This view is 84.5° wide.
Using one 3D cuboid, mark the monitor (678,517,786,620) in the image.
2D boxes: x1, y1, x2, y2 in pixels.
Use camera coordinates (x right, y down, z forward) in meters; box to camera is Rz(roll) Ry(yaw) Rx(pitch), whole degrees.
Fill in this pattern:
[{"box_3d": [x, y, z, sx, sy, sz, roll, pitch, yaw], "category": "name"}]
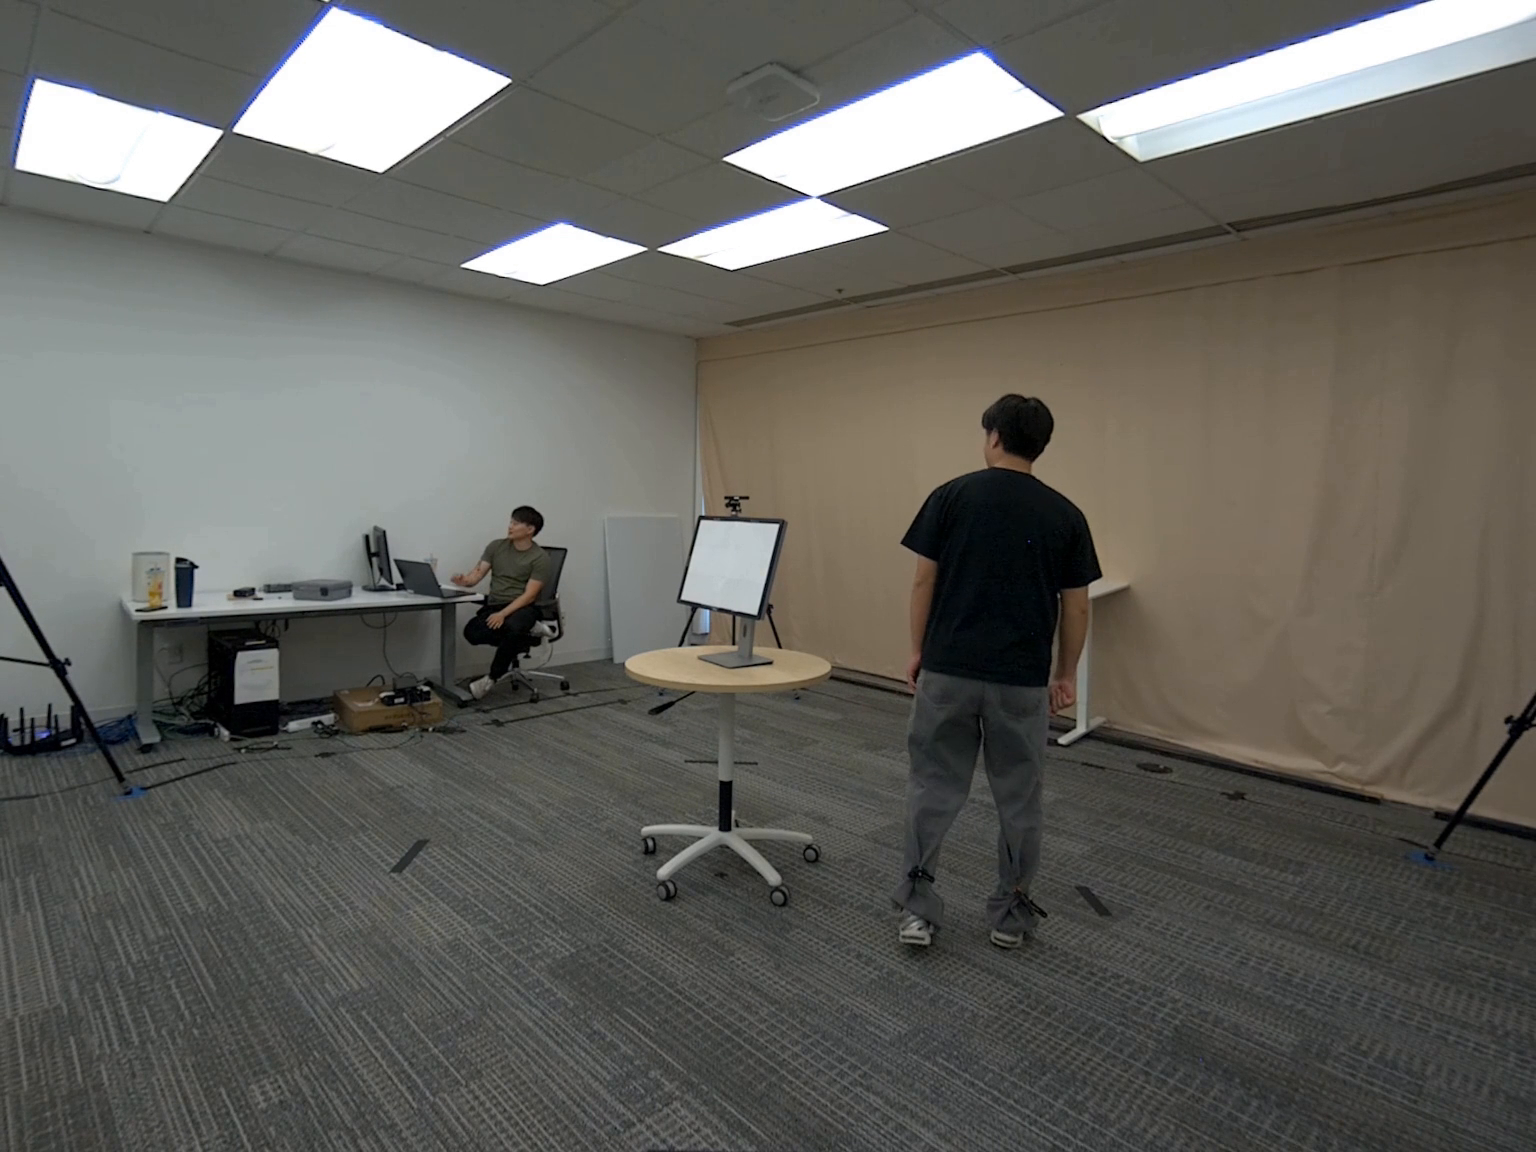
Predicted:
[{"box_3d": [-0.131, 0.061, 3.166, 0.217, 0.564, 0.575, -2, 4, -33], "category": "monitor"}]
